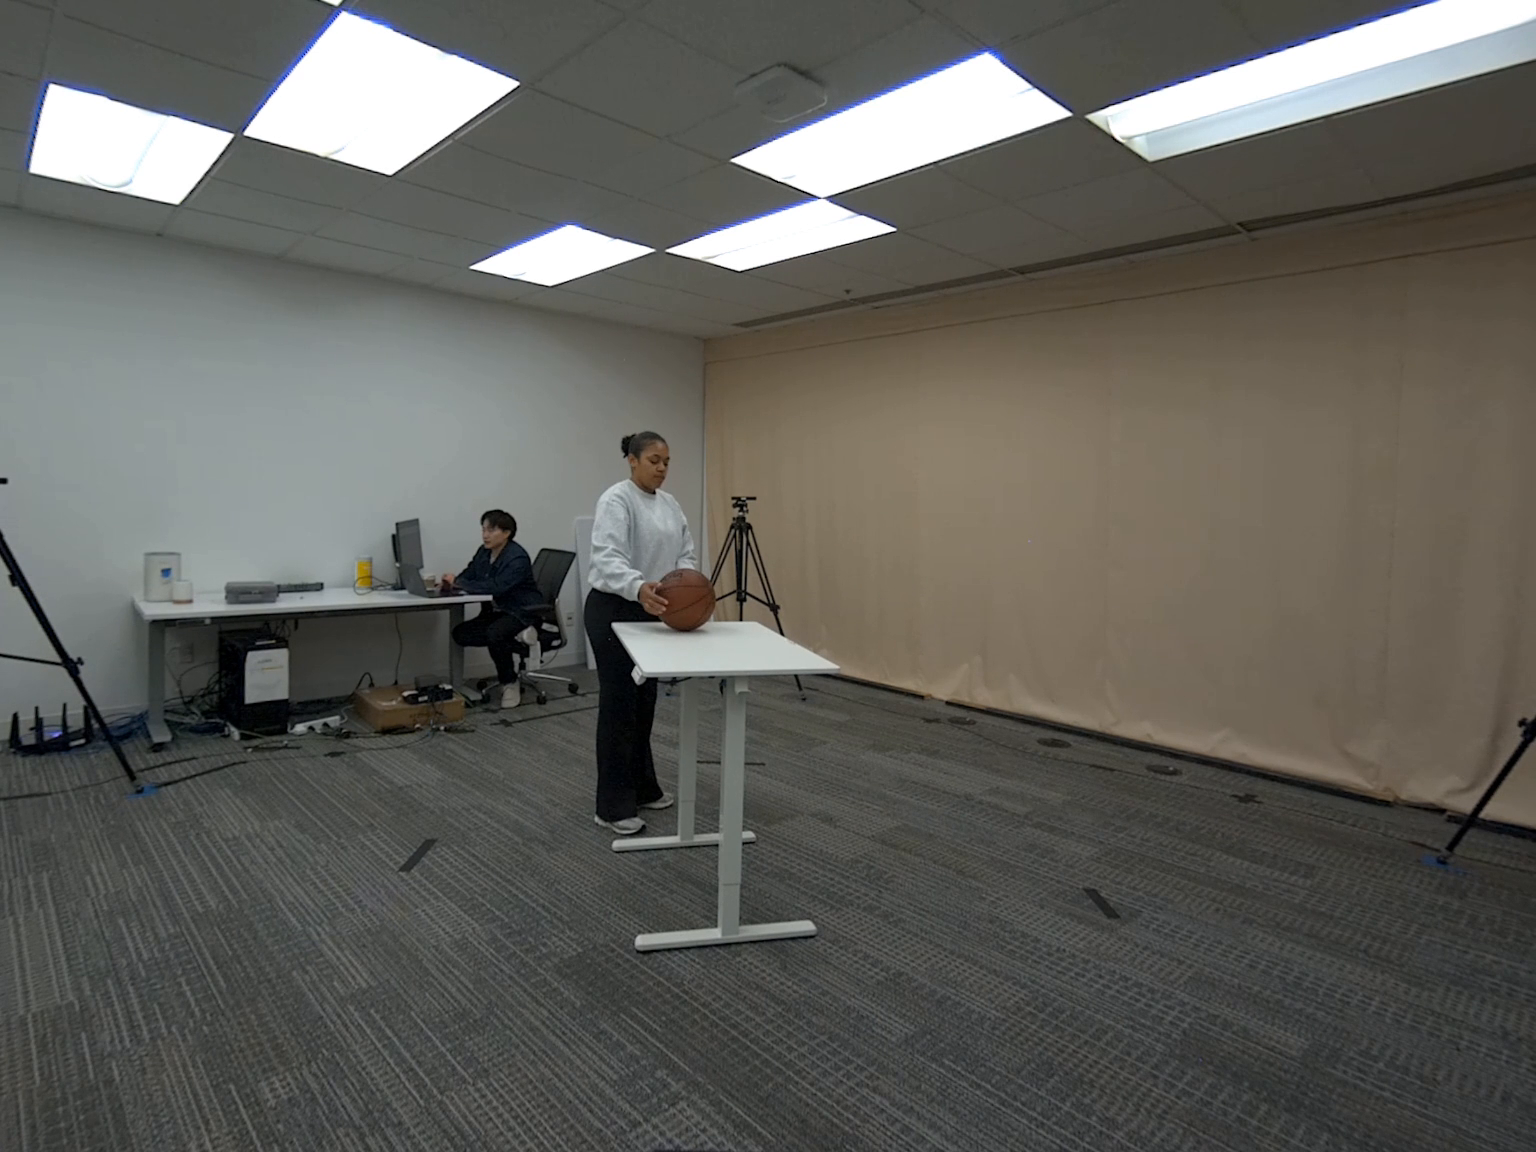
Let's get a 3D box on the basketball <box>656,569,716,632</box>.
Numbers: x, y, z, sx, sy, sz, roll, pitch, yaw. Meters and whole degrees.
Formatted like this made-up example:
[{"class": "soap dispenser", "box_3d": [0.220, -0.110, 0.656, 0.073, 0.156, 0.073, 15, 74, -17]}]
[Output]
[{"class": "basketball", "box_3d": [-0.324, 0.090, 3.214, 0.236, 0.235, 0.237, 1, 4, -1]}]
